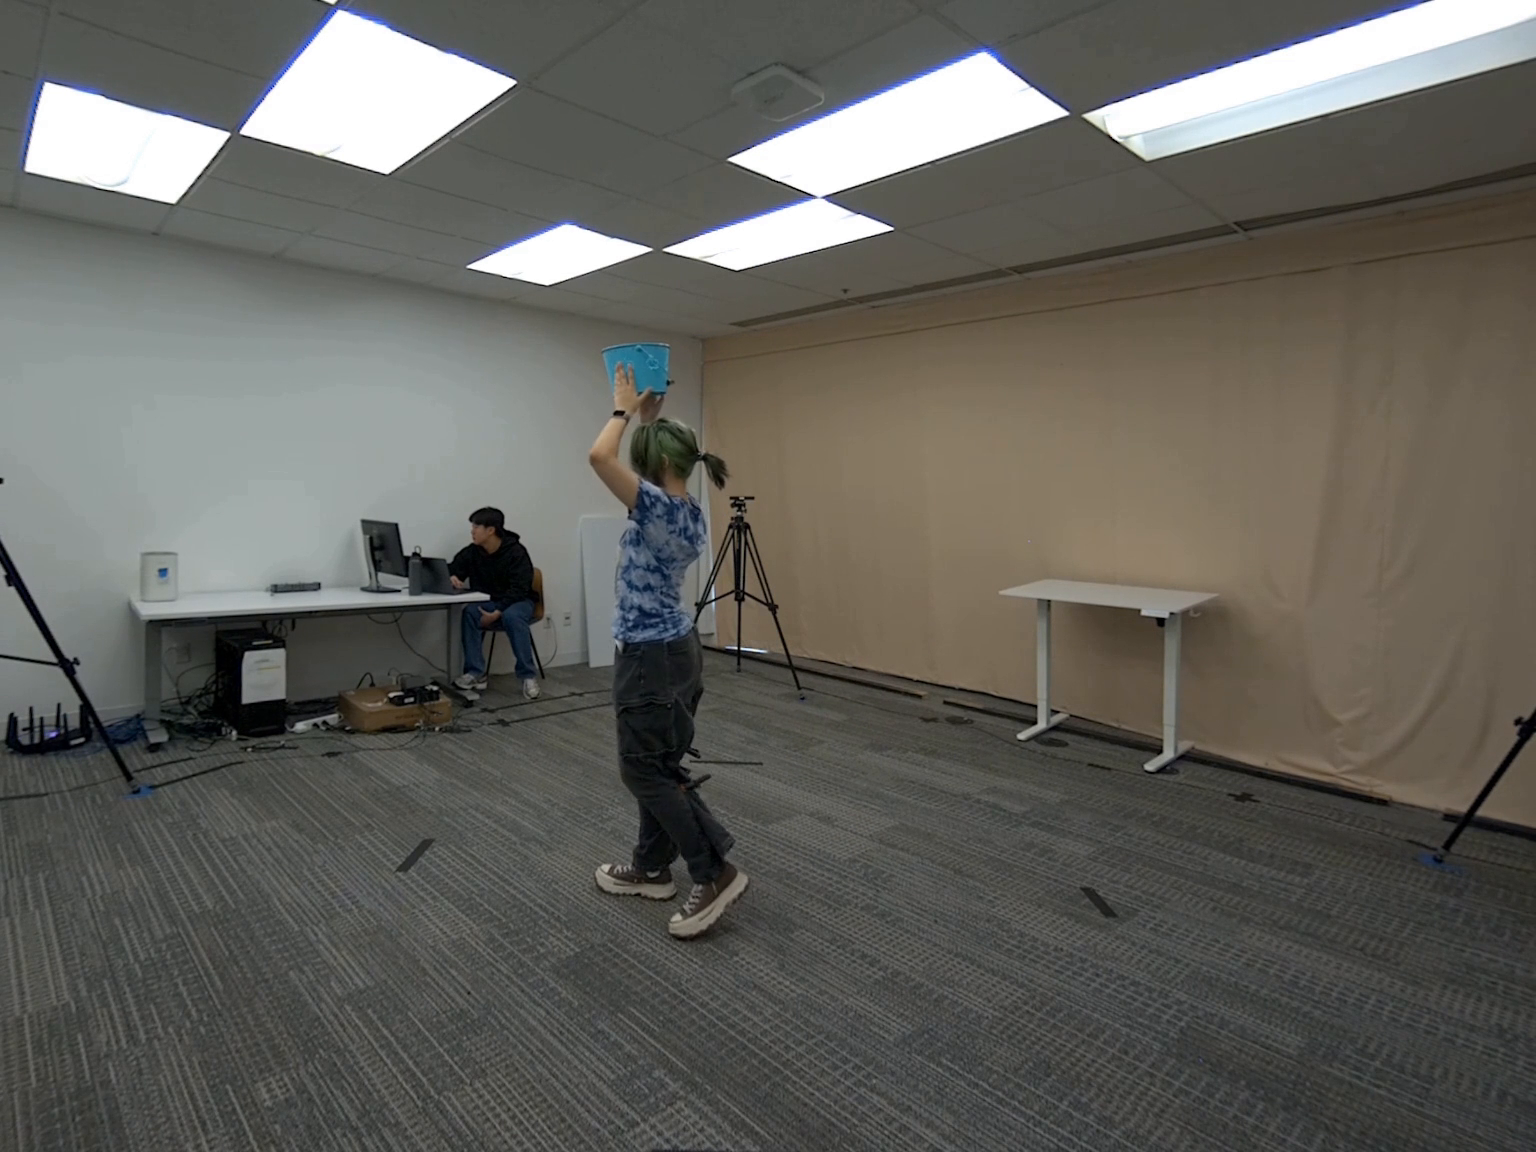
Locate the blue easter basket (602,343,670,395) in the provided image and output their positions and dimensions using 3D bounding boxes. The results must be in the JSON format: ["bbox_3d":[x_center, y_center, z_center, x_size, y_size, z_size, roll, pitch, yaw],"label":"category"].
[{"bbox_3d":[-0.443,-0.689,2.817,0.243,0.155,0.244,-5,6,-1],"label":"blue easter basket"}]
